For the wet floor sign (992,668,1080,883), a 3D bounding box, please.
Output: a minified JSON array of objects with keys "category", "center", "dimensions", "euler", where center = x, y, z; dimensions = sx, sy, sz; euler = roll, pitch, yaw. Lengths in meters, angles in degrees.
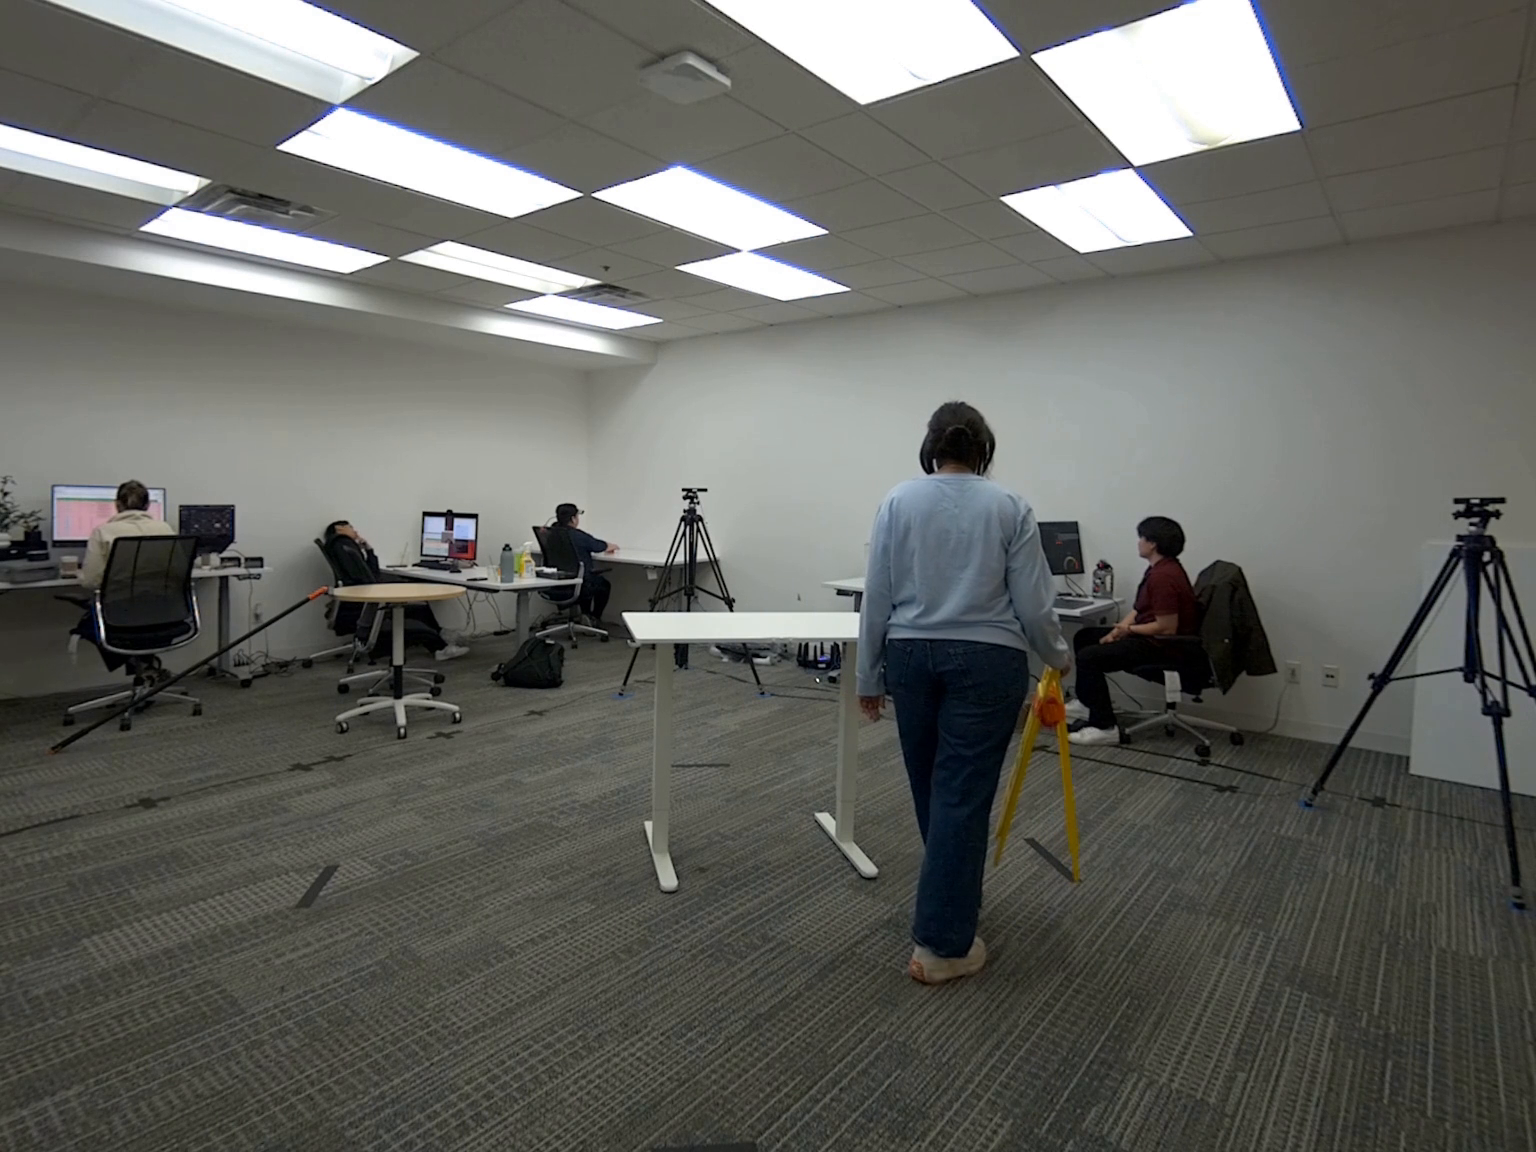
[{"category":"wet floor sign","center":[0.884,0.589,2.724],"dimensions":[0.295,0.642,0.279],"euler":[4,7,16]}]
